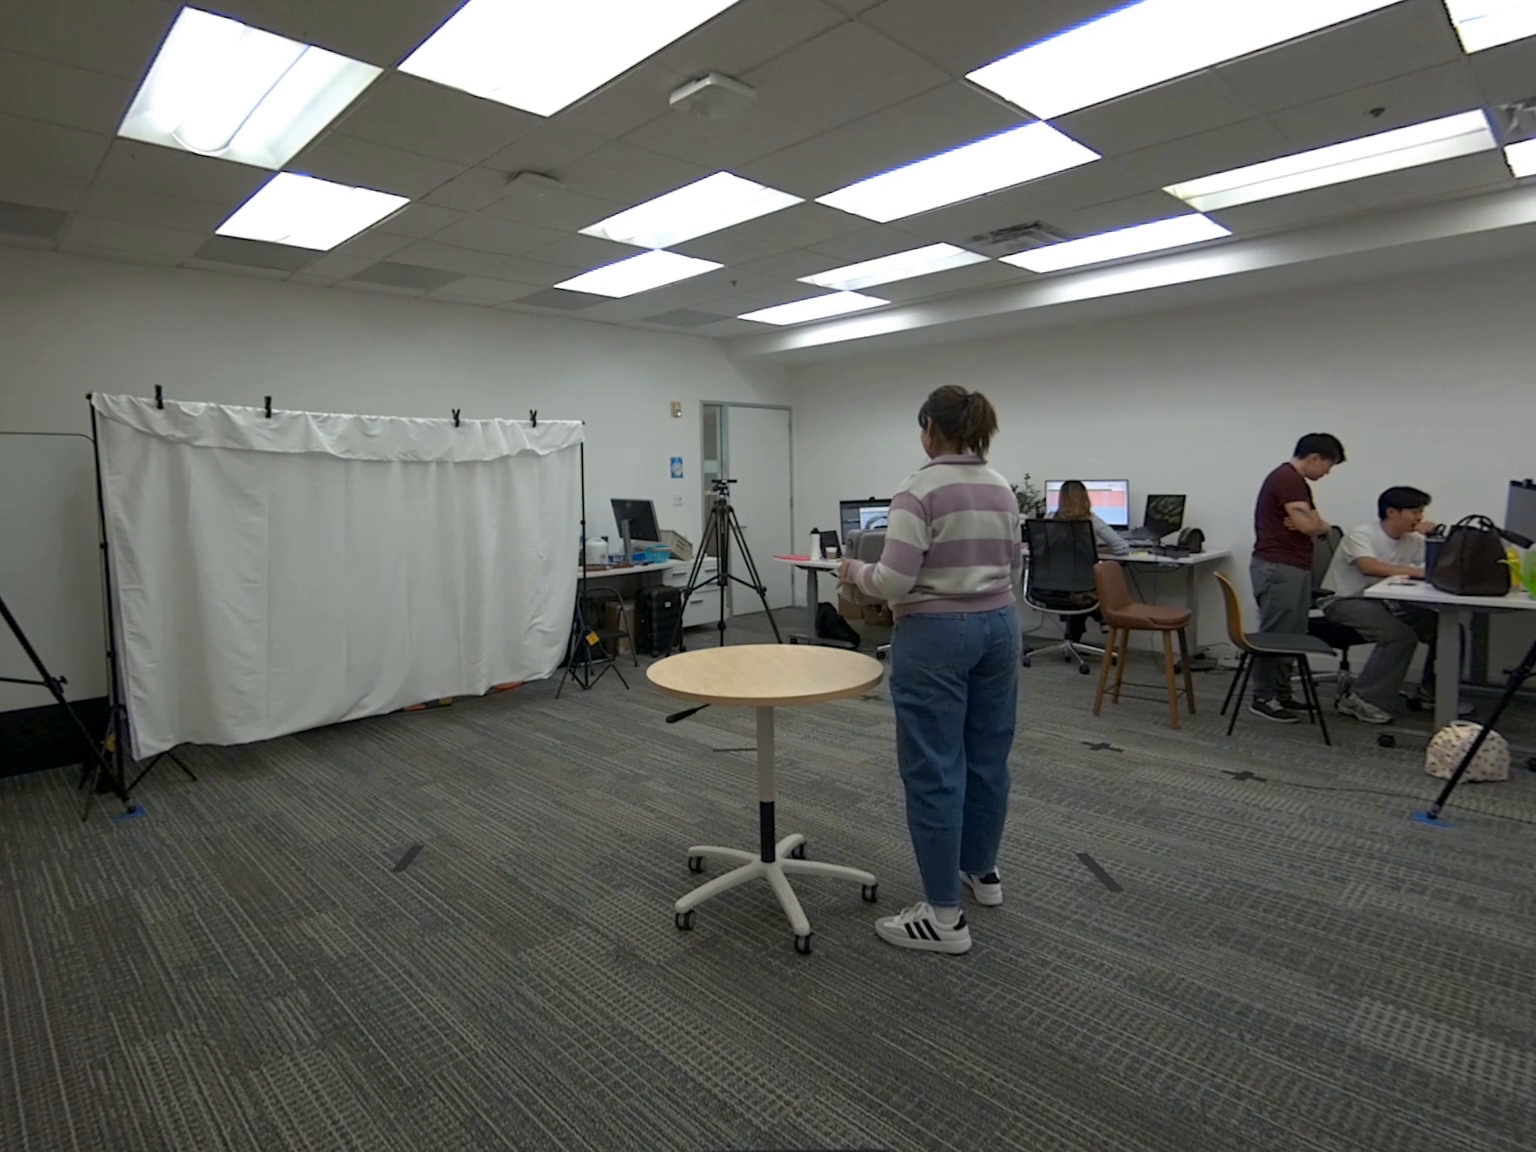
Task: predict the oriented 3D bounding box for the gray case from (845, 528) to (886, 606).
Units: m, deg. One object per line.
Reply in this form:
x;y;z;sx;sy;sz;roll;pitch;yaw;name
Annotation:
0.394;-0.036;2.920;0.250;0.259;0.108;-2;10;-32;gray case
